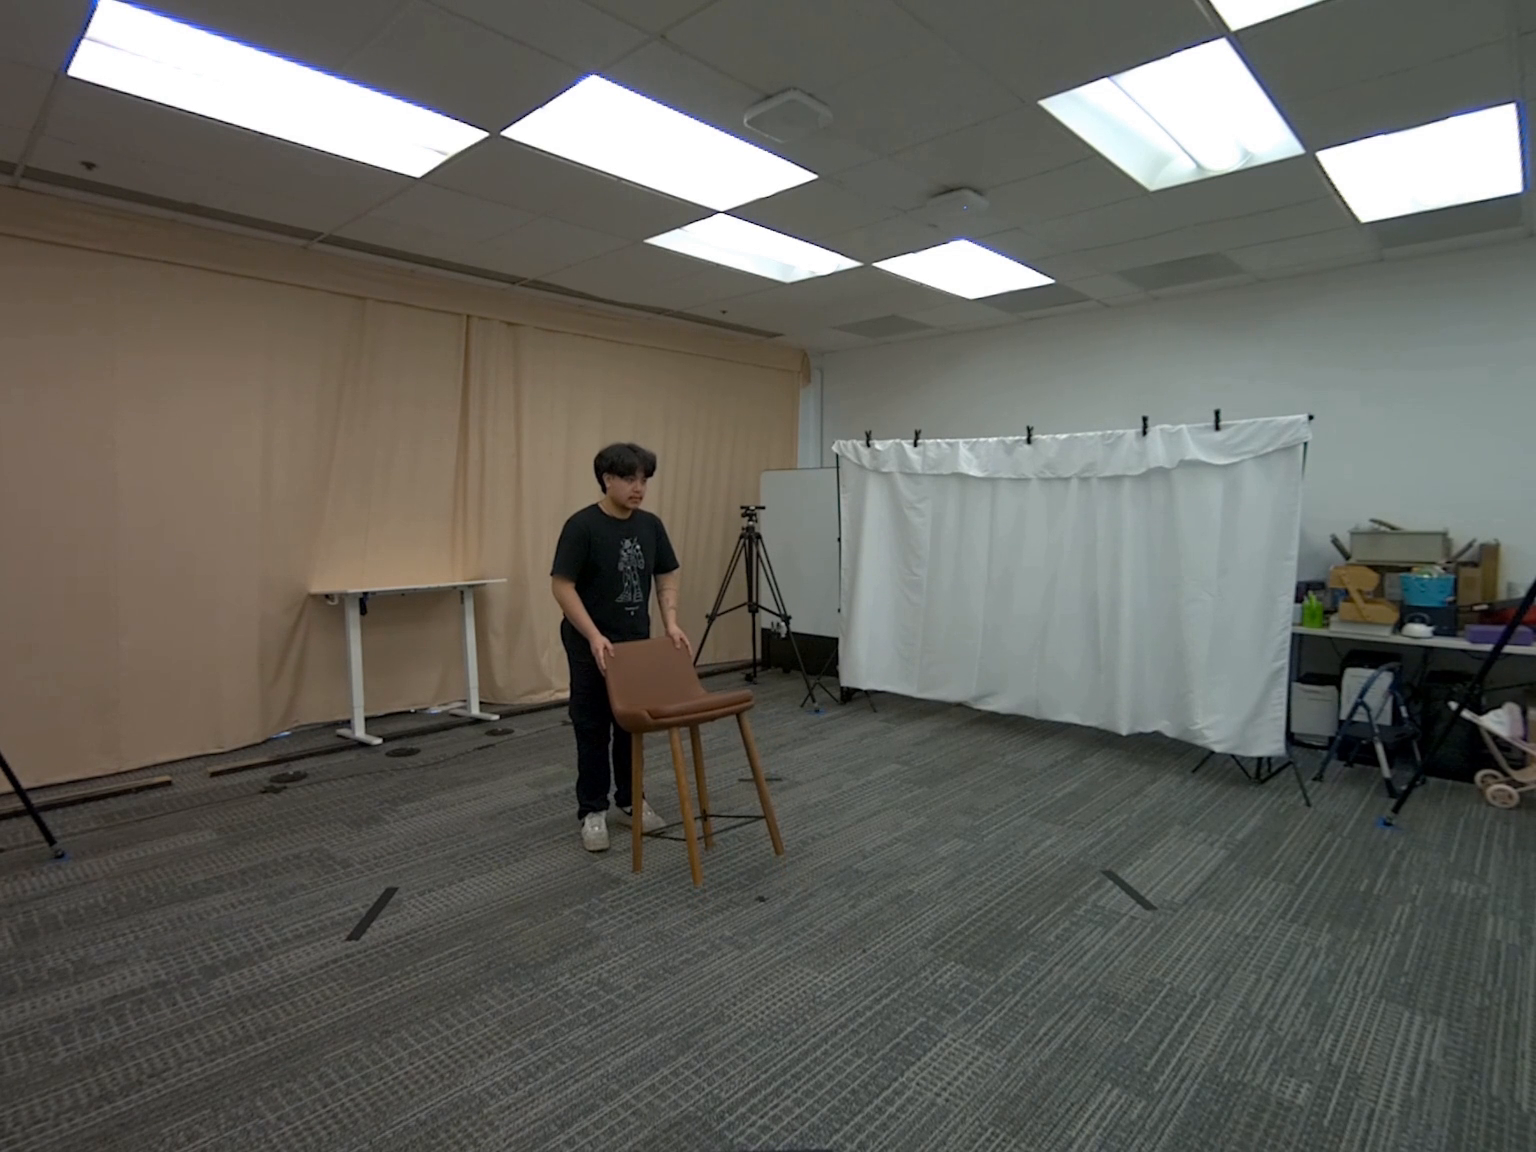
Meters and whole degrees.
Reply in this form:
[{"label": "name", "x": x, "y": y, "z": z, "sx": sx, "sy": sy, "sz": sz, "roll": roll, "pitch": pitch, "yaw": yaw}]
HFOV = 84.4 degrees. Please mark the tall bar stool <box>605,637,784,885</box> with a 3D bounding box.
[{"label": "tall bar stool", "x": -0.308, "y": 0.655, "z": 3.219, "sx": 0.443, "sy": 0.896, "sz": 0.478, "roll": -3, "pitch": -11, "yaw": -39}]
